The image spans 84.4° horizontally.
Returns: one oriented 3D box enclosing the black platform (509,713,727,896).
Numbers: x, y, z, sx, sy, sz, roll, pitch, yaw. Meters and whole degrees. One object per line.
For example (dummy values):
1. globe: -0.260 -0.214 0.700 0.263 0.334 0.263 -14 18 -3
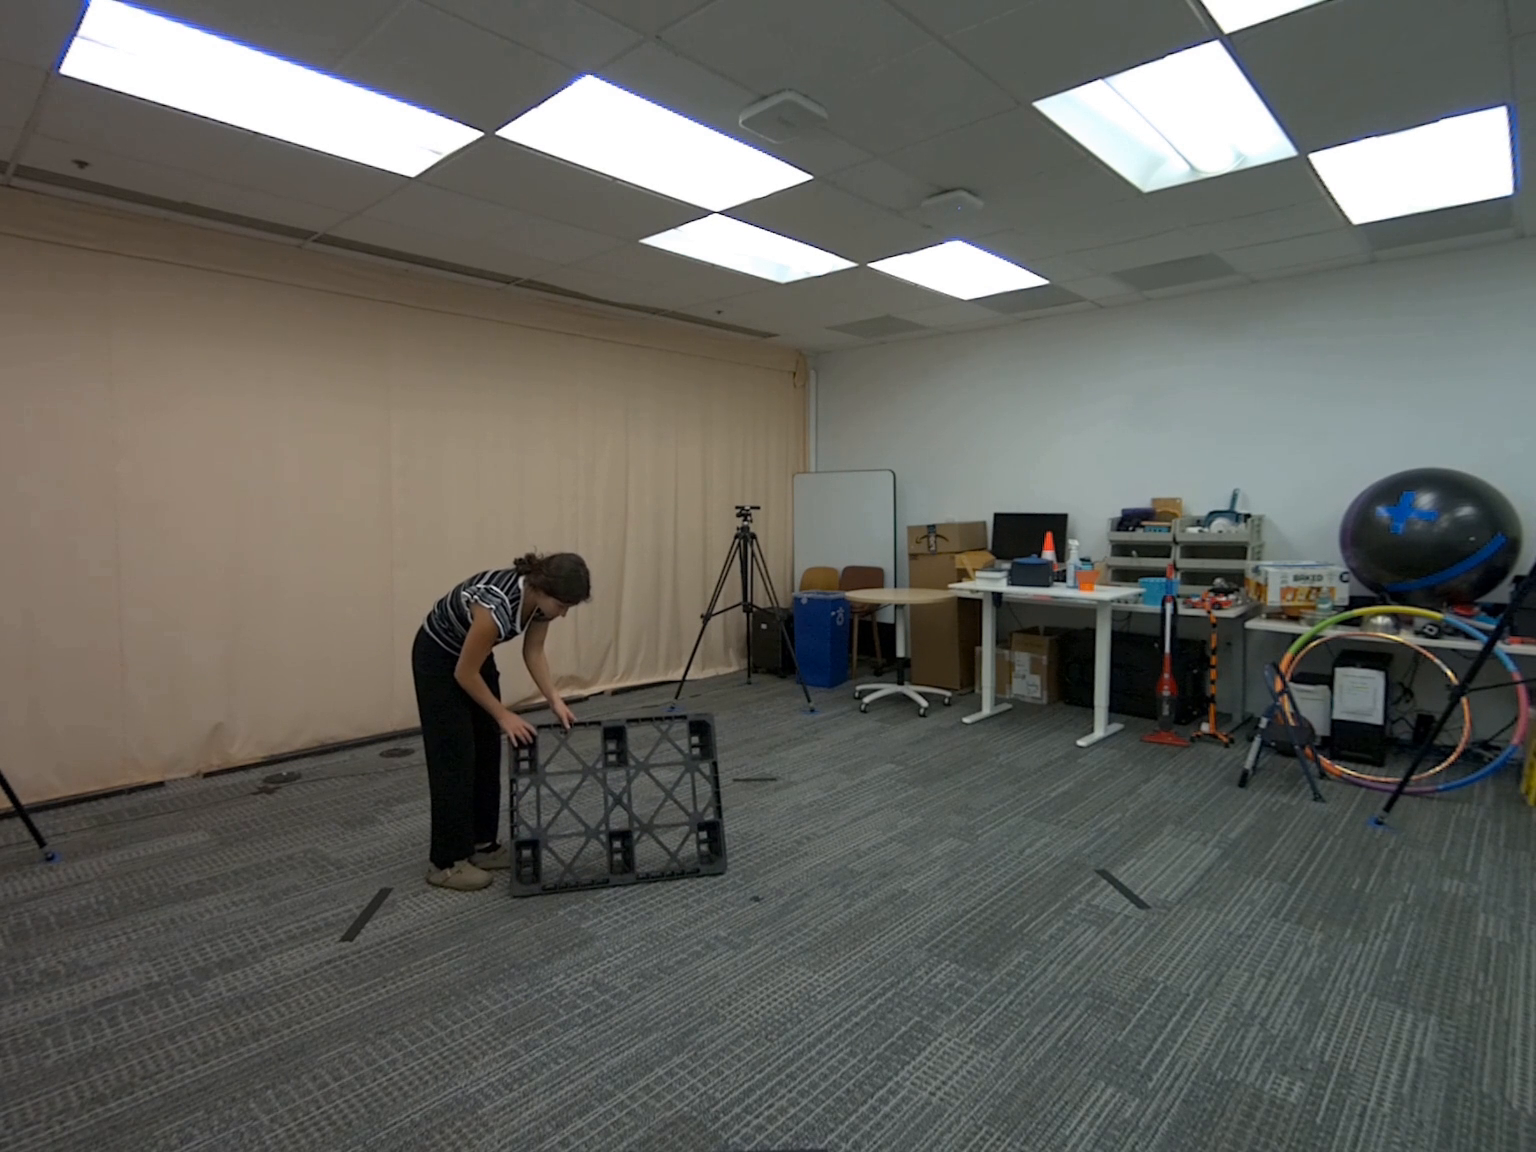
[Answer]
1. black platform: -0.578 0.857 3.224 0.794 0.613 0.143 -2 -18 -13
